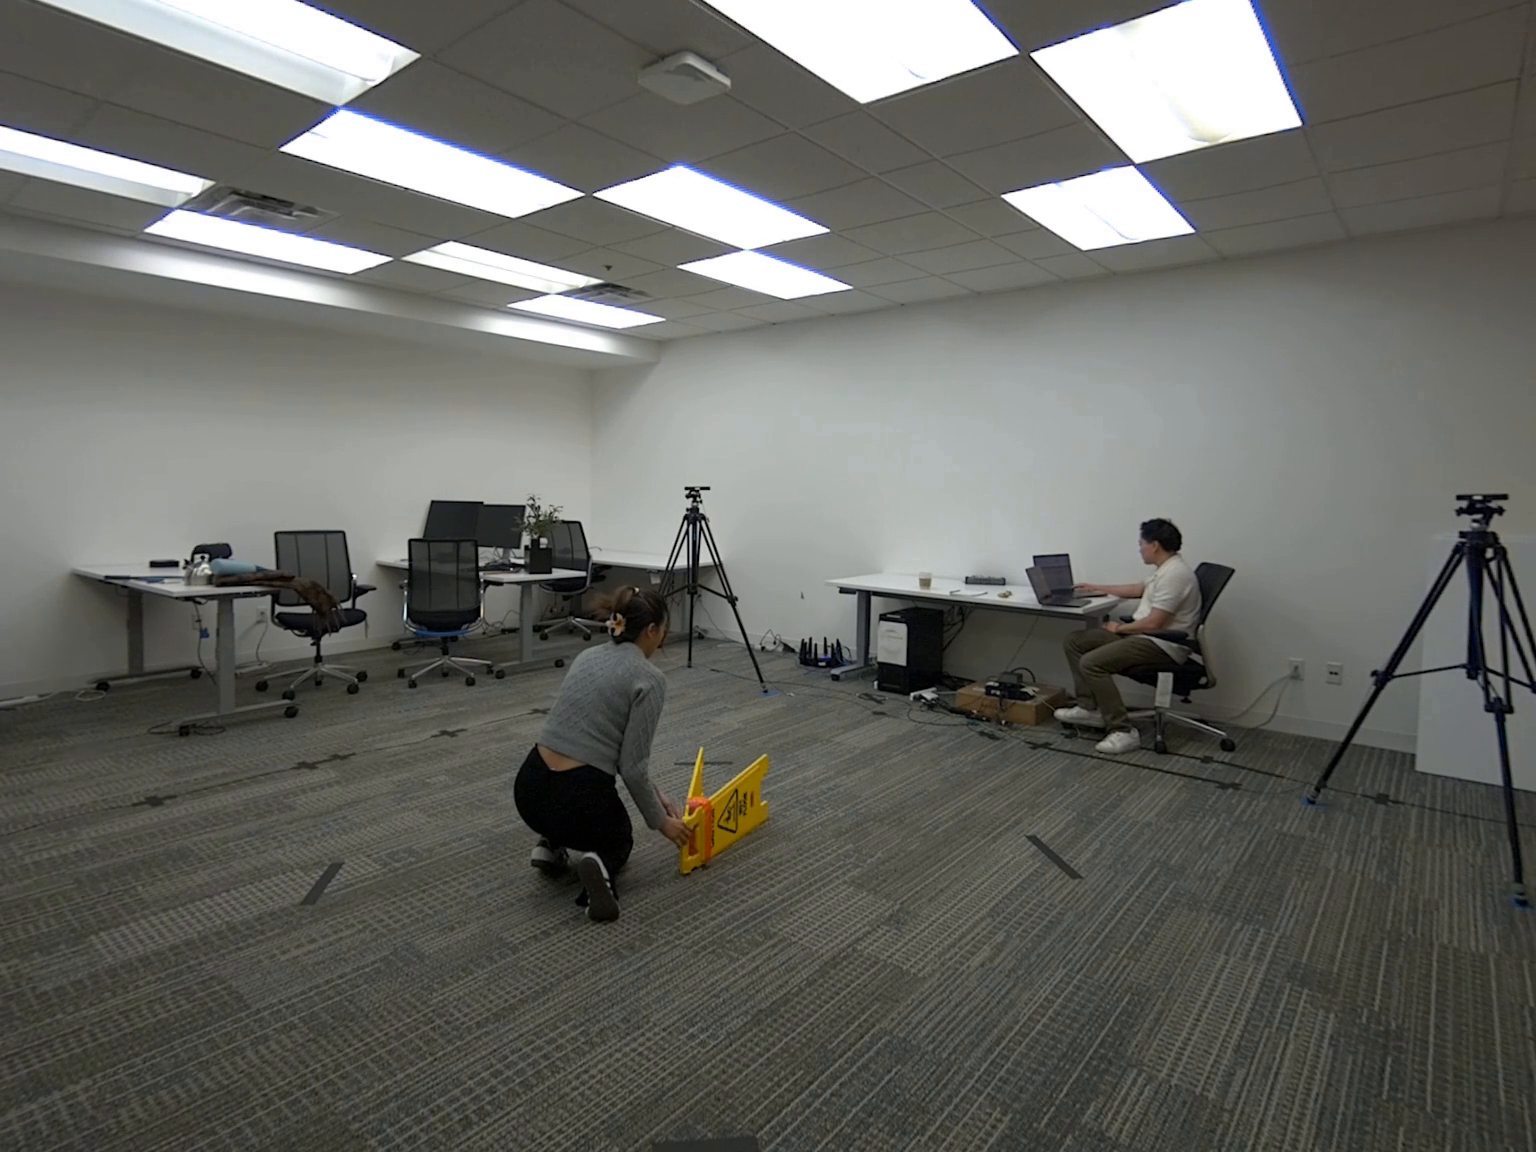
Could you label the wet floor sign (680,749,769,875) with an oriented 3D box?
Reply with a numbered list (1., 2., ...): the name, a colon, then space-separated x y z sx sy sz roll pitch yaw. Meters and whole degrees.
1. wet floor sign: -0.231 0.921 3.326 0.295 0.280 0.638 2 9 16
